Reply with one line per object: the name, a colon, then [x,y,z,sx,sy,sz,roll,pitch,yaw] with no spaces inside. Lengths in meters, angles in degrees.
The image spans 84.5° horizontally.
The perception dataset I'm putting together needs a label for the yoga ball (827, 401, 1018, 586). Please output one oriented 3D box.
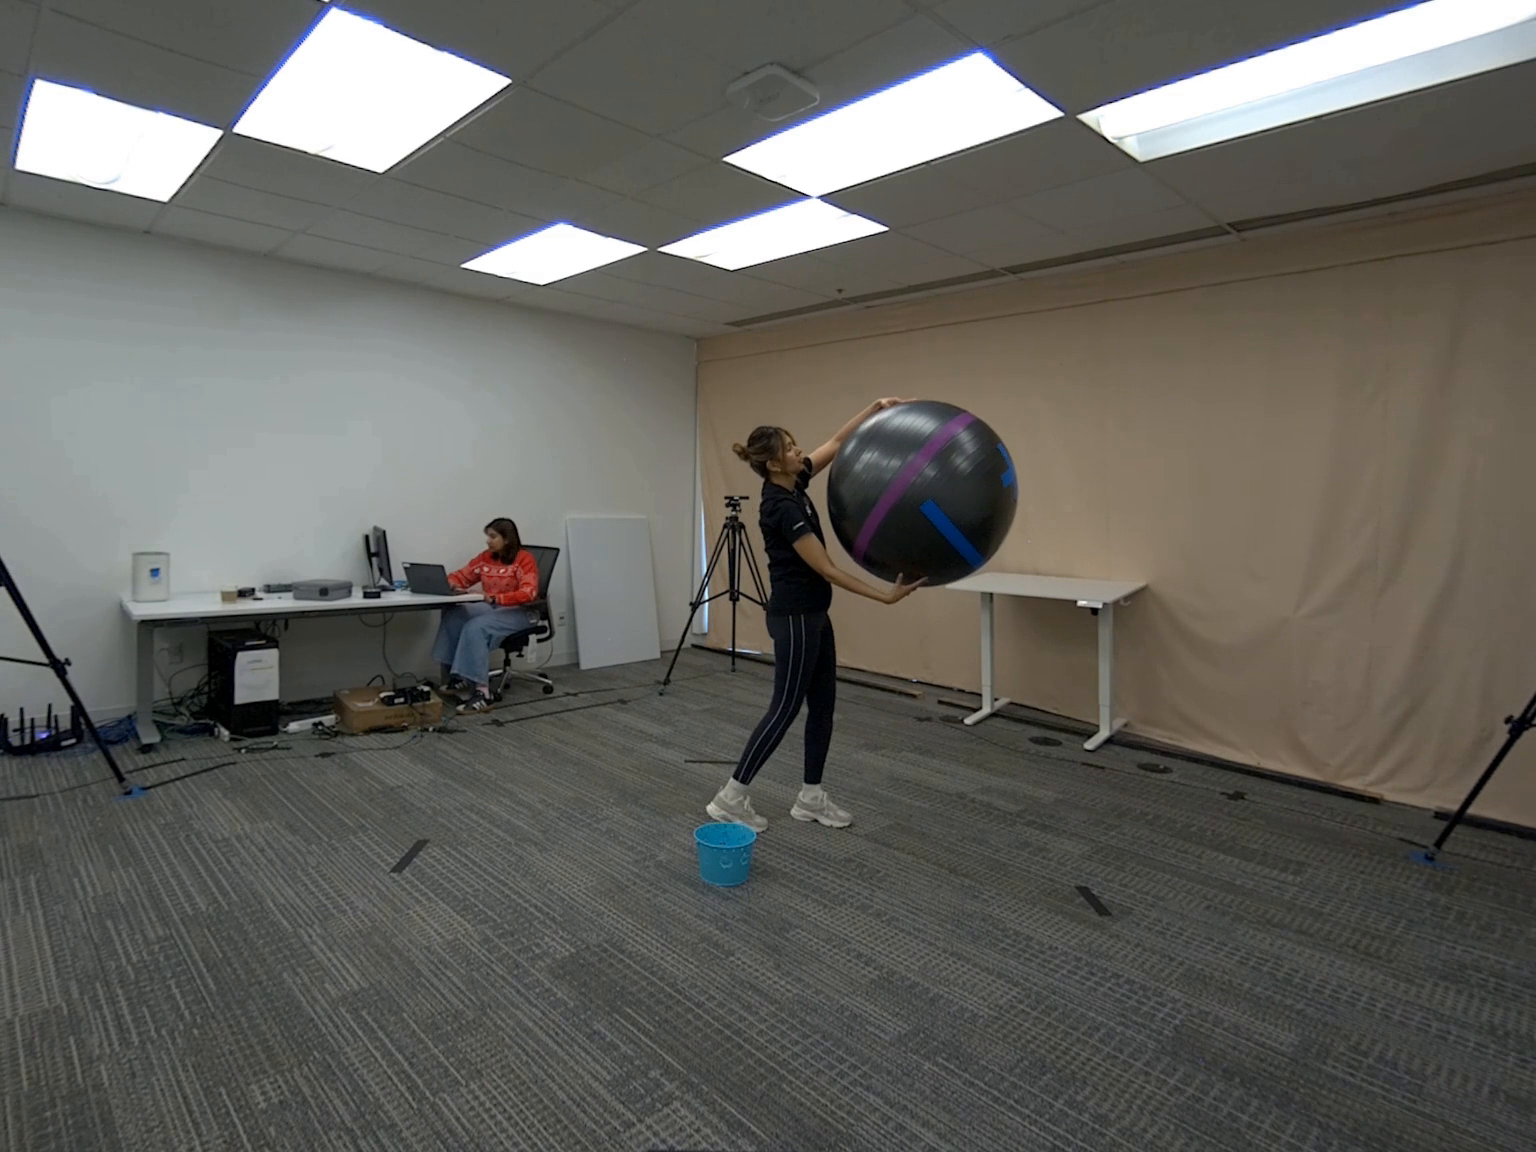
yoga ball: [0.613,-0.328,3.438,0.757,0.756,0.761,1,4,-1]
